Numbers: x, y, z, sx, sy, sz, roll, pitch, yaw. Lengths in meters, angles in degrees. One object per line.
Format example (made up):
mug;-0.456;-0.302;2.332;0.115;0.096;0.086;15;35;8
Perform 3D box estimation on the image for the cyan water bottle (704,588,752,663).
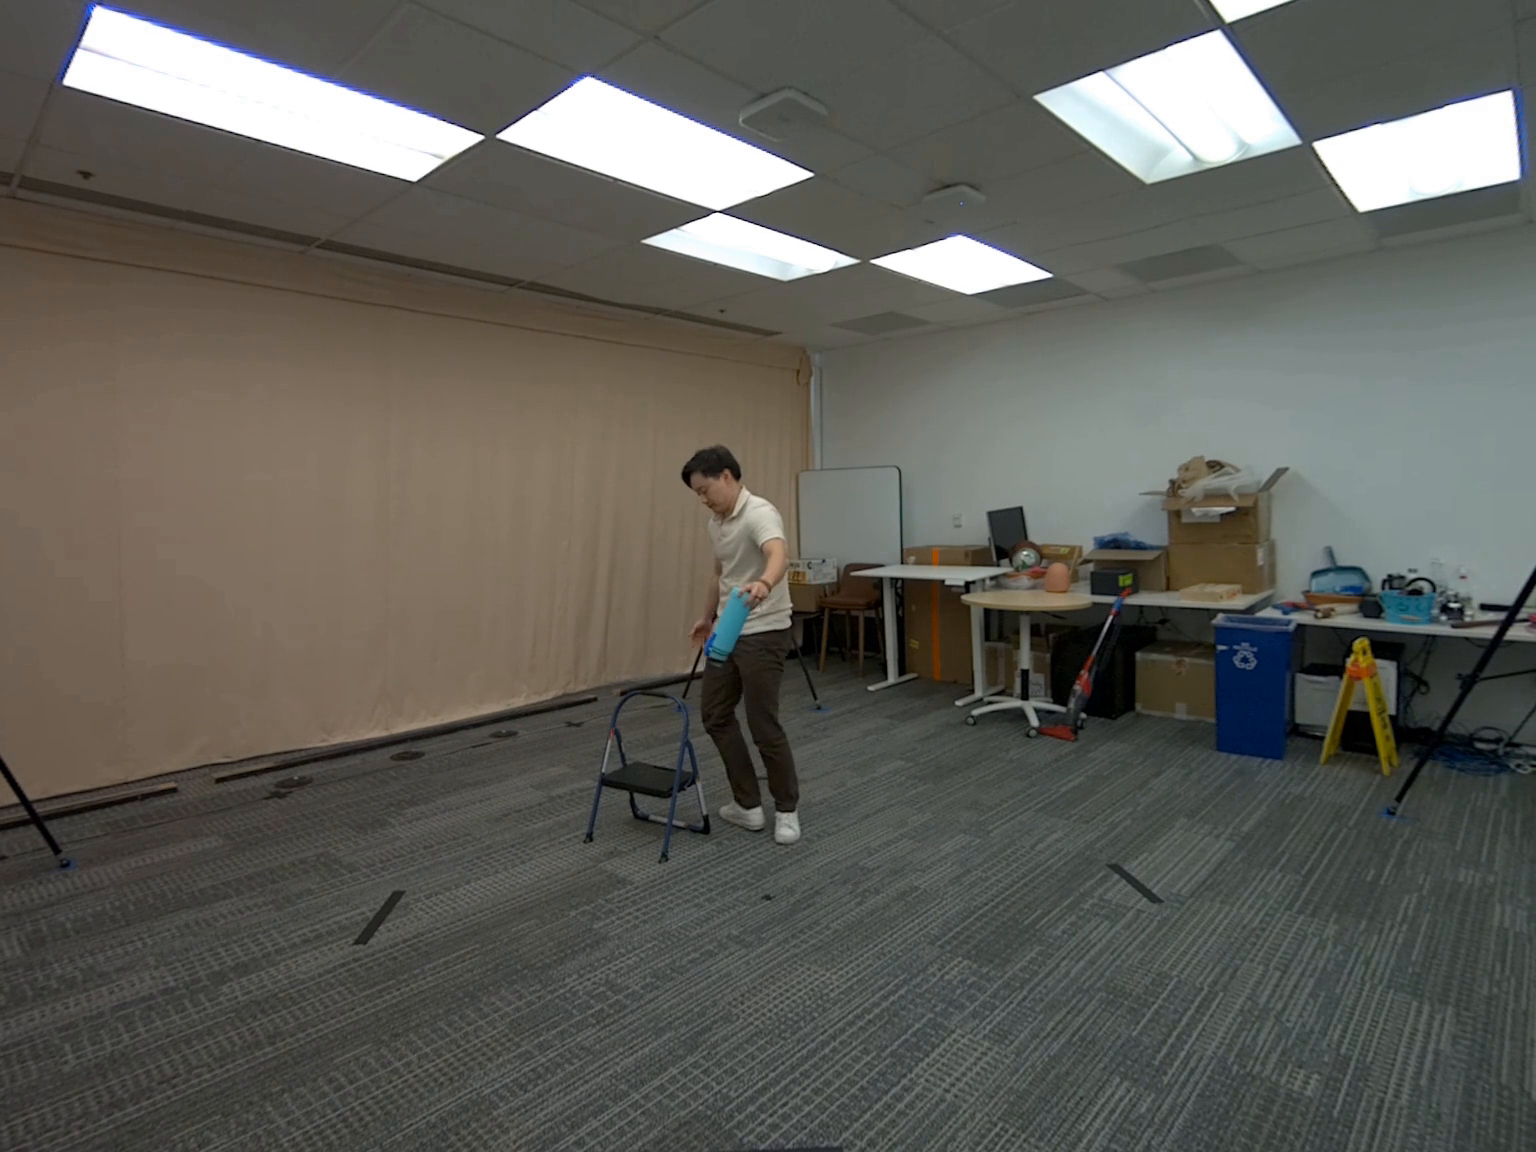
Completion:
cyan water bottle;-0.152;0.183;3.000;0.092;0.283;0.093;24;7;-5
